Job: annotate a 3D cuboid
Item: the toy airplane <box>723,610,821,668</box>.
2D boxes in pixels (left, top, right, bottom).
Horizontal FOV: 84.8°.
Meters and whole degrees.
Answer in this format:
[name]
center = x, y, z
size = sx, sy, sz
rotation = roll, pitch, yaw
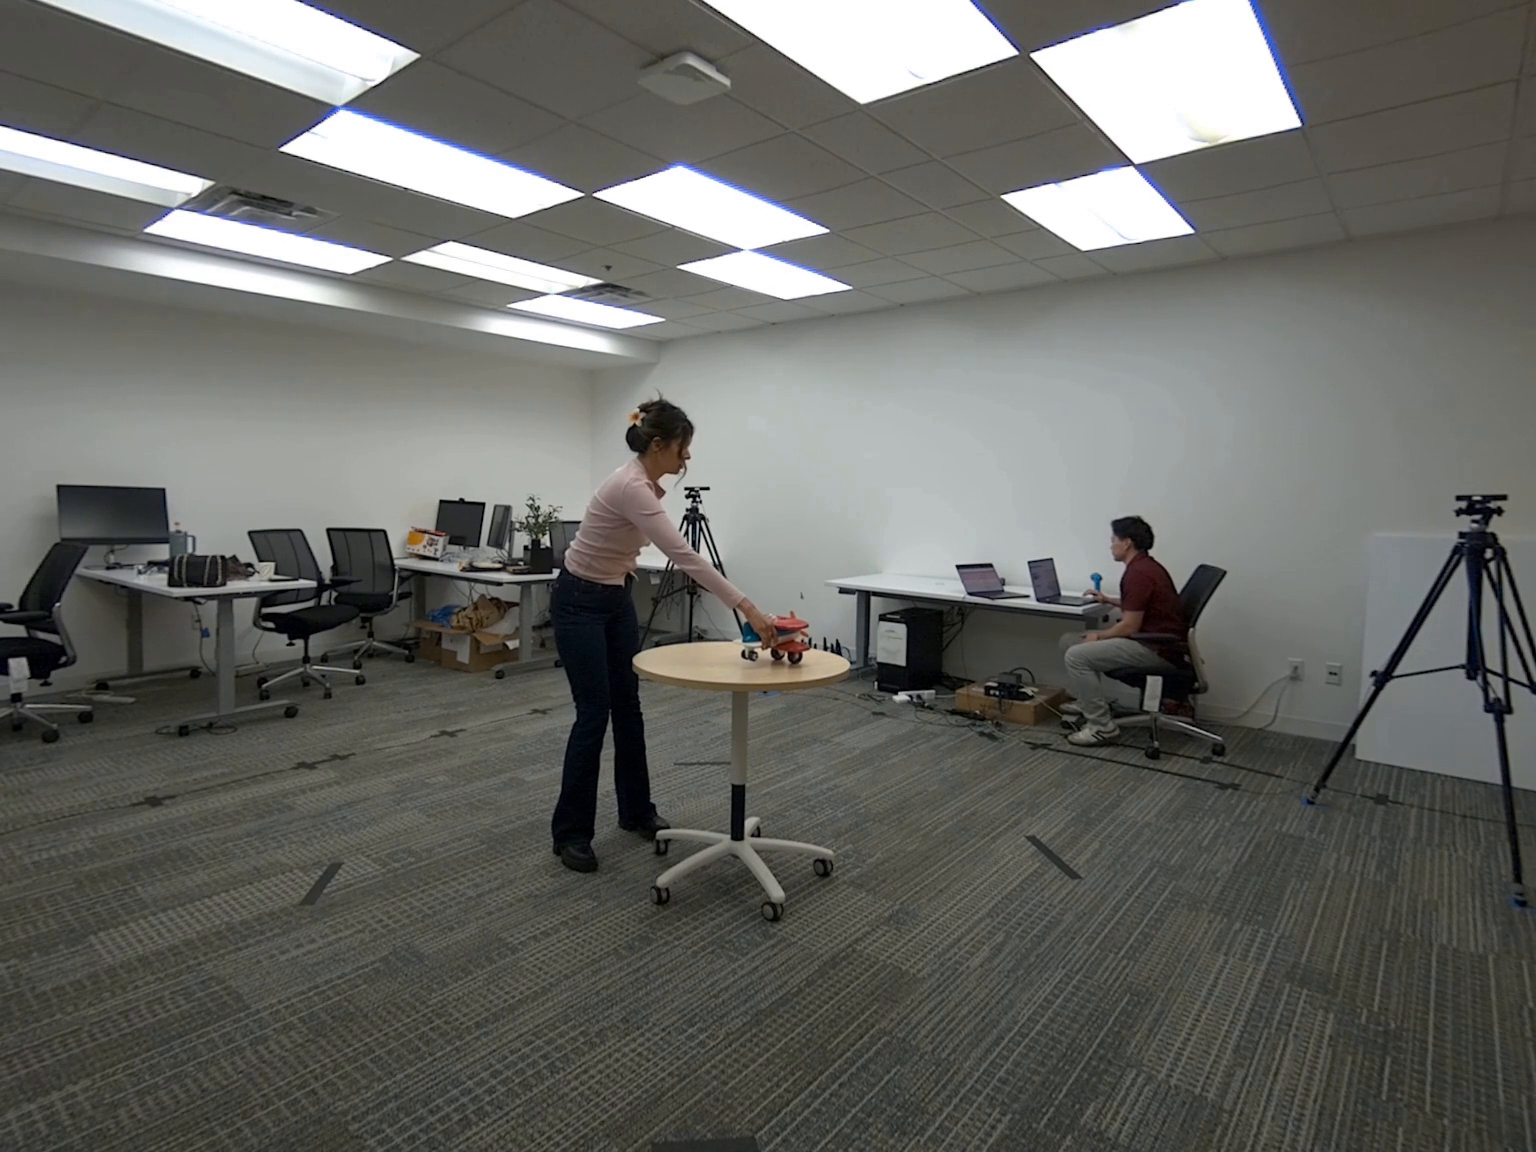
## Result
[toy airplane]
center = 0.016, 0.215, 2.930
size = 0.257, 0.157, 0.252
rotation = 7, -2, 21
